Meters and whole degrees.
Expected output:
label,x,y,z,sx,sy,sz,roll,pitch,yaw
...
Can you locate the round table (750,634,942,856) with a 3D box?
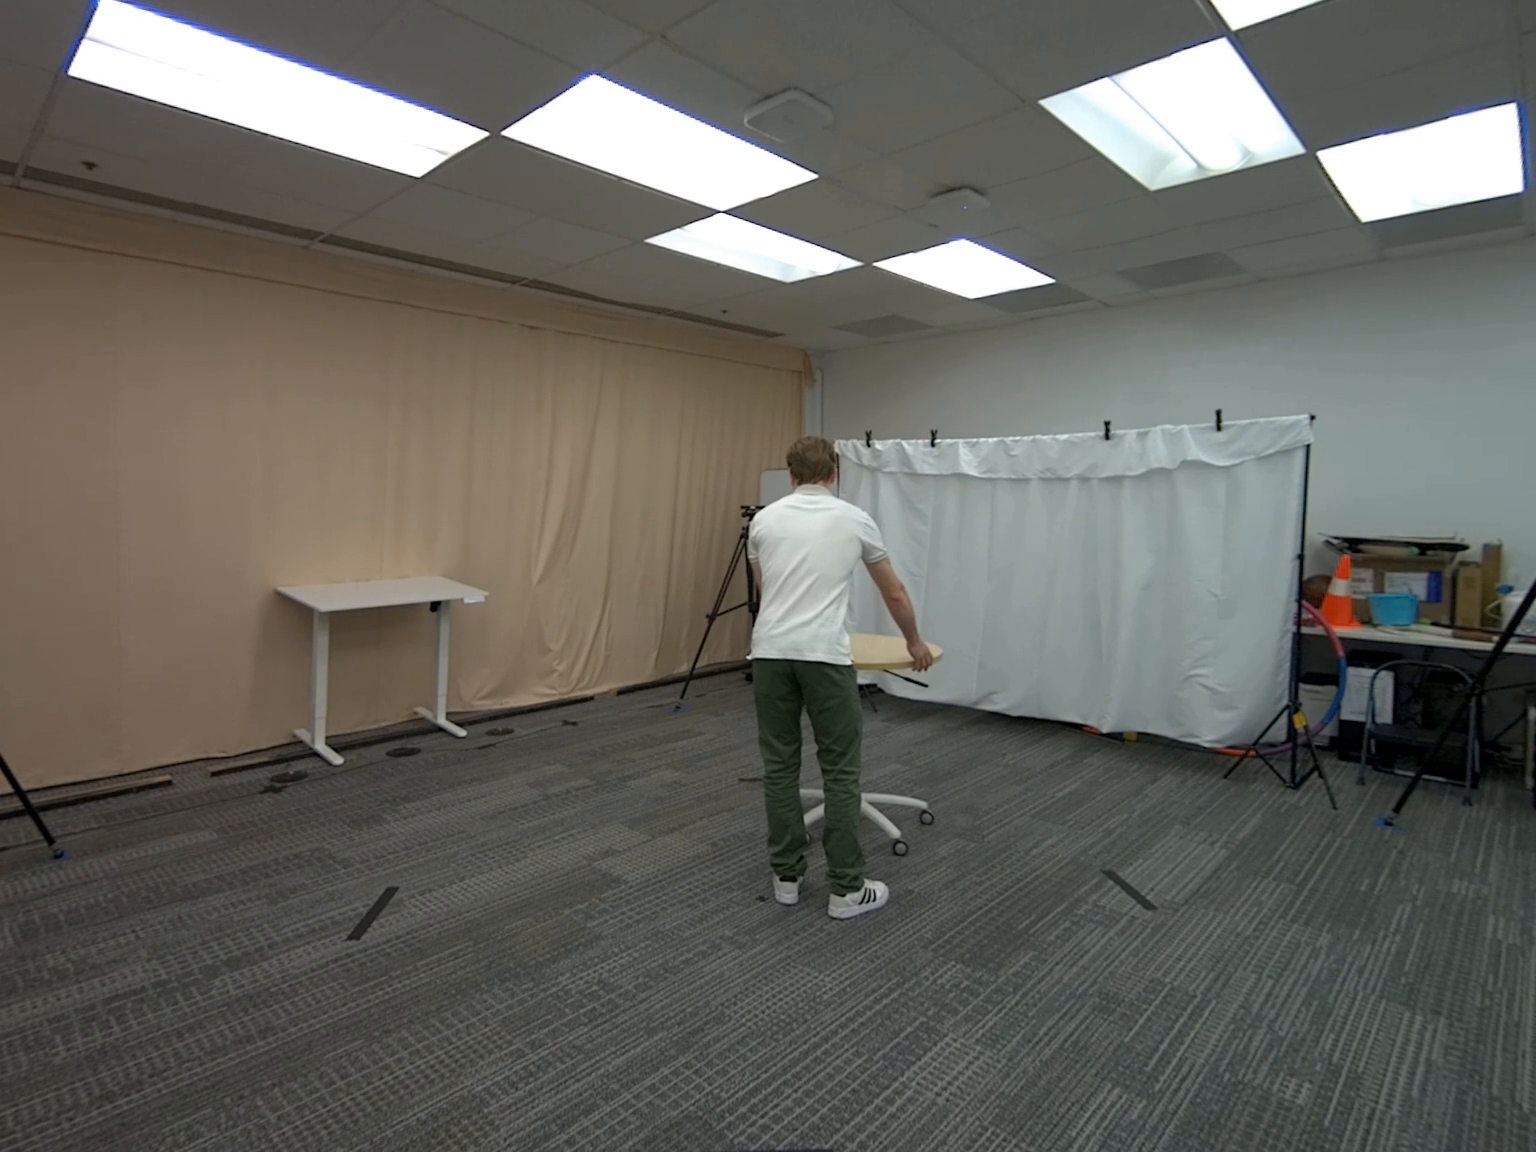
label,x,y,z,sx,sy,sz,roll,pitch,yaw
round table,0.363,0.698,3.652,0.763,0.792,0.766,0,3,-2
